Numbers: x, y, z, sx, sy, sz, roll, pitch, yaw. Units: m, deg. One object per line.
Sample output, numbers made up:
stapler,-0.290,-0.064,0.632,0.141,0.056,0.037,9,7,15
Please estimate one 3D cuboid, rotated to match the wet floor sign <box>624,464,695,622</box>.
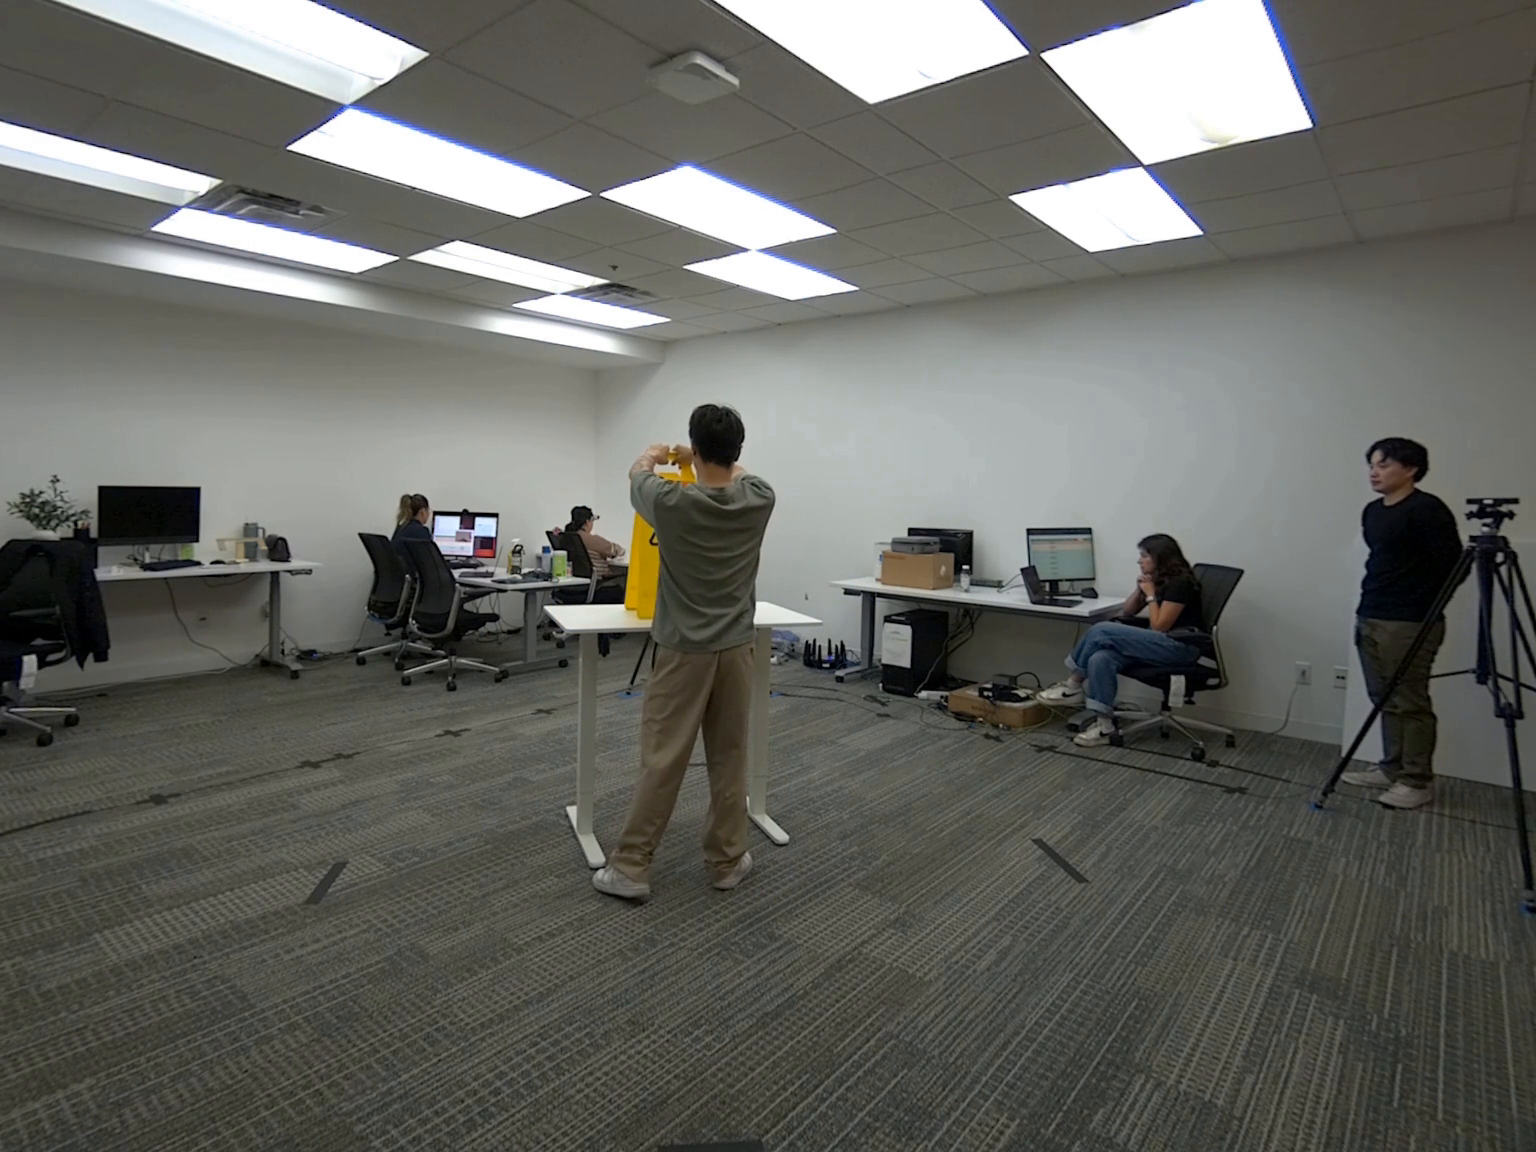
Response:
wet floor sign,-0.421,-0.173,3.409,0.277,0.644,0.296,0,3,-18
